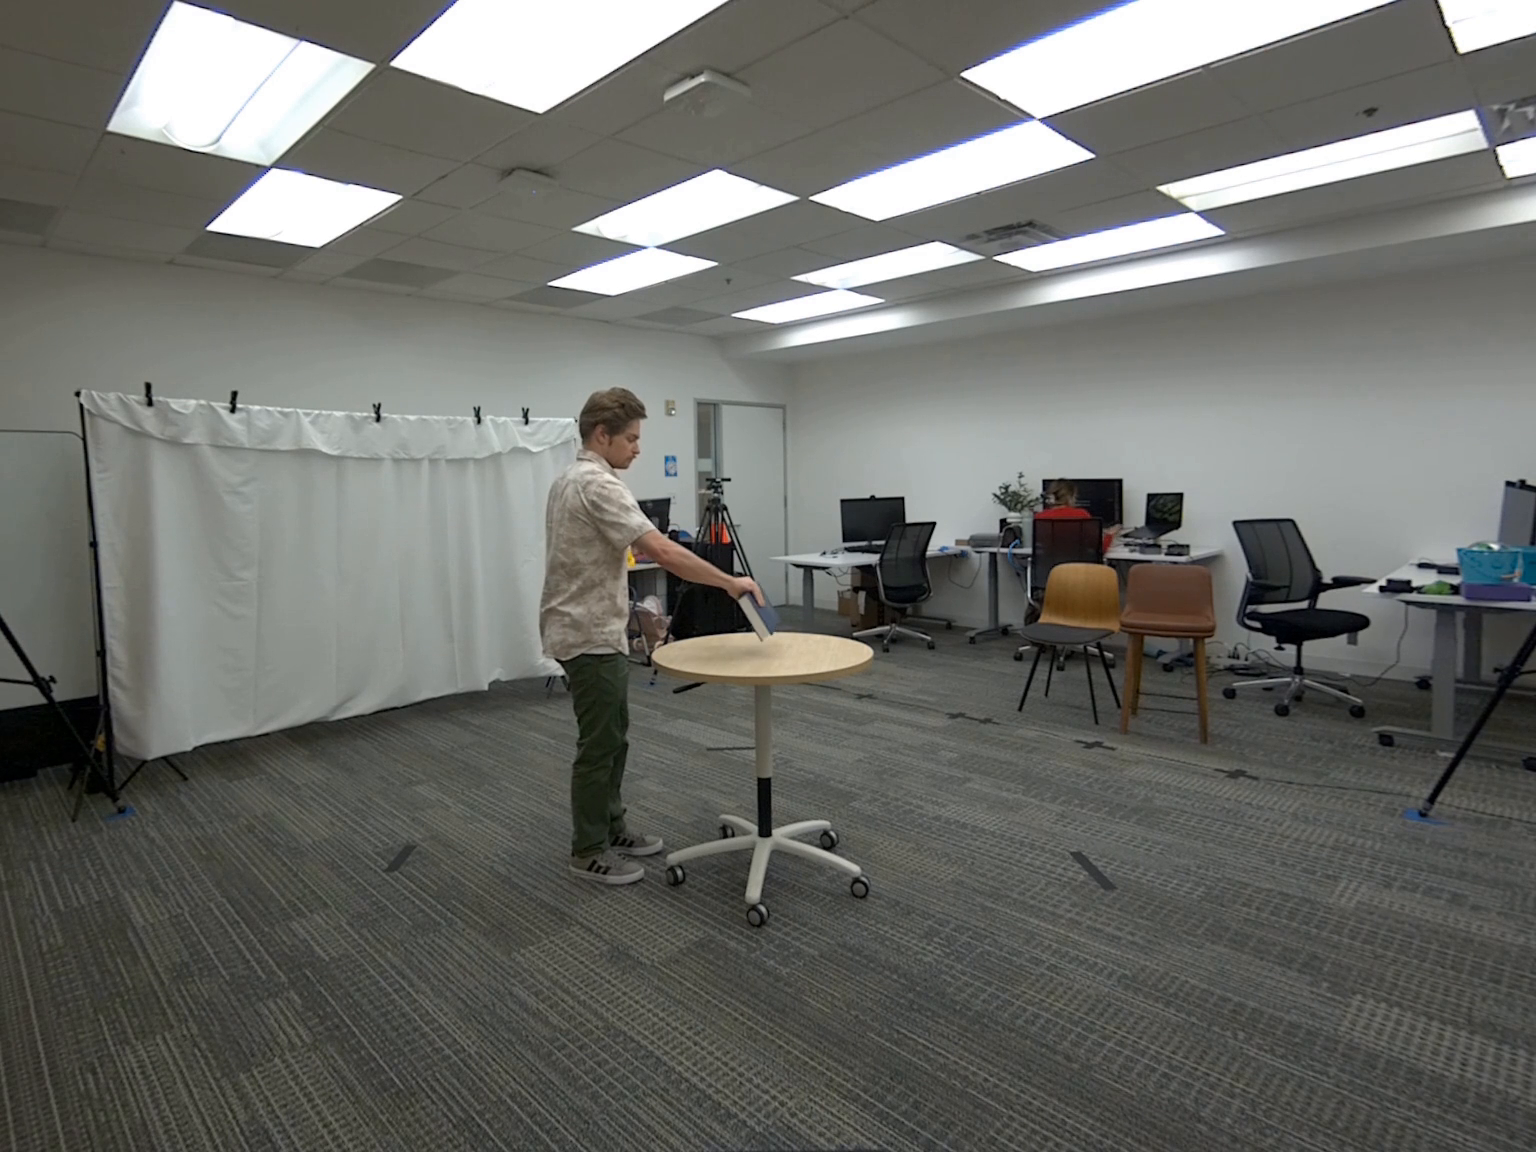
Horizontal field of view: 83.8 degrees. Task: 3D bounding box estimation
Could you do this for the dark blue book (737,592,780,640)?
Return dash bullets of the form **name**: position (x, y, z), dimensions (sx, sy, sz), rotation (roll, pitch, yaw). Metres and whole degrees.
- **dark blue book**: position (-0.027, 0.112, 2.937), dimensions (0.045, 0.163, 0.245), rotation (-32, 4, 11)
